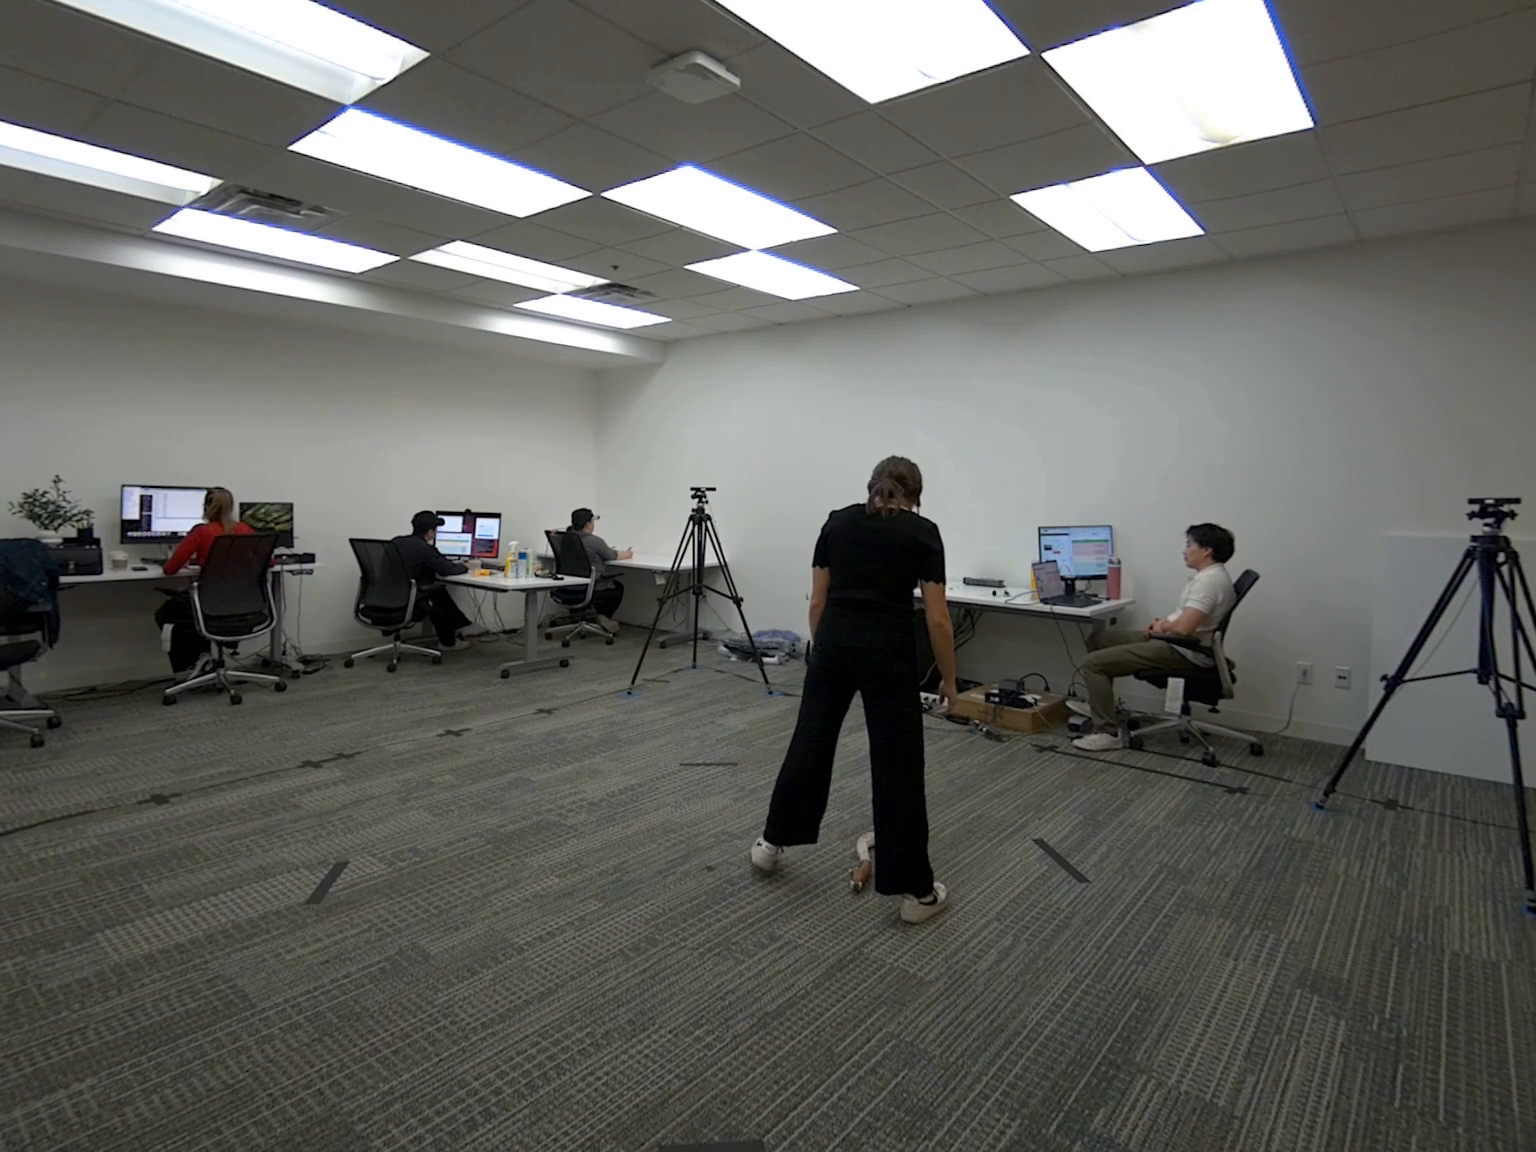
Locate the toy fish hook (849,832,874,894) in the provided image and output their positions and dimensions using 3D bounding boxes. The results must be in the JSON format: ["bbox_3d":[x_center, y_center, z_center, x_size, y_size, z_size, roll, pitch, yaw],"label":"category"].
[{"bbox_3d":[0.413,1.051,3.149,0.229,0.048,0.499,0,6,17],"label":"toy fish hook"}]
